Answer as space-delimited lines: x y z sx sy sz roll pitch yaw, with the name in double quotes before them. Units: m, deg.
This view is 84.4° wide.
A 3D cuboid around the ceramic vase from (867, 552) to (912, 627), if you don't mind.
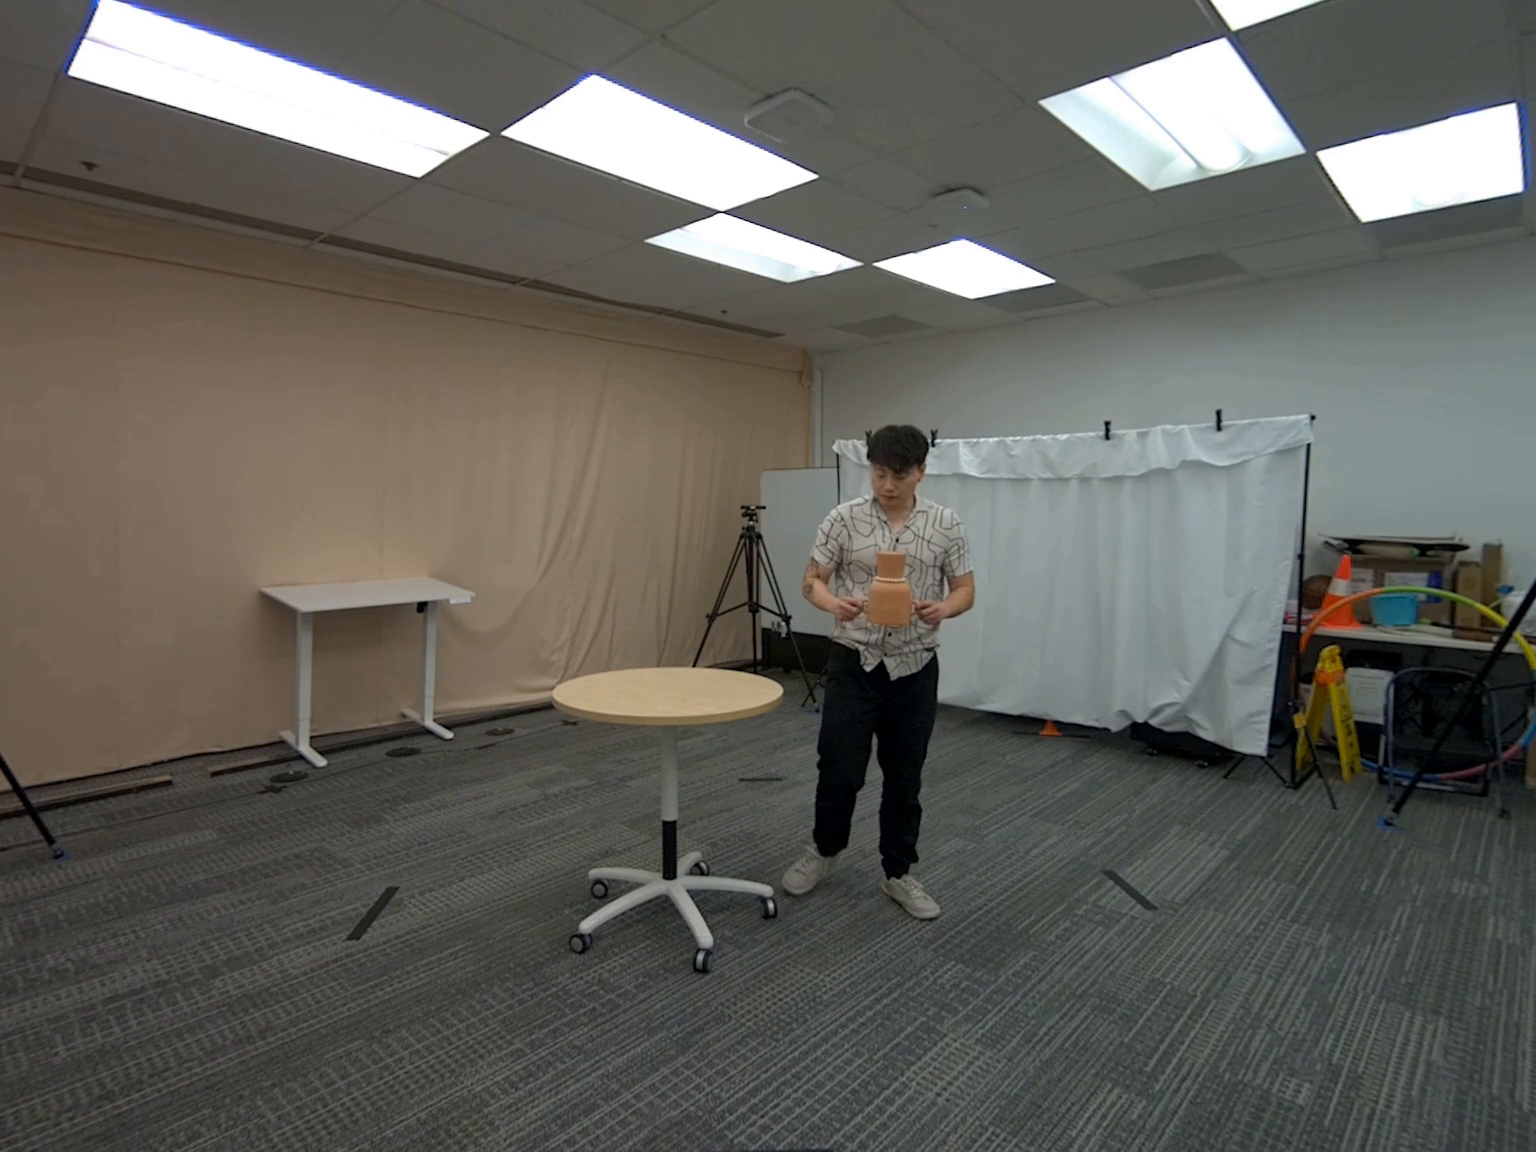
"ceramic vase" 0.372 0.038 2.650 0.154 0.219 0.139 -1 6 -33
